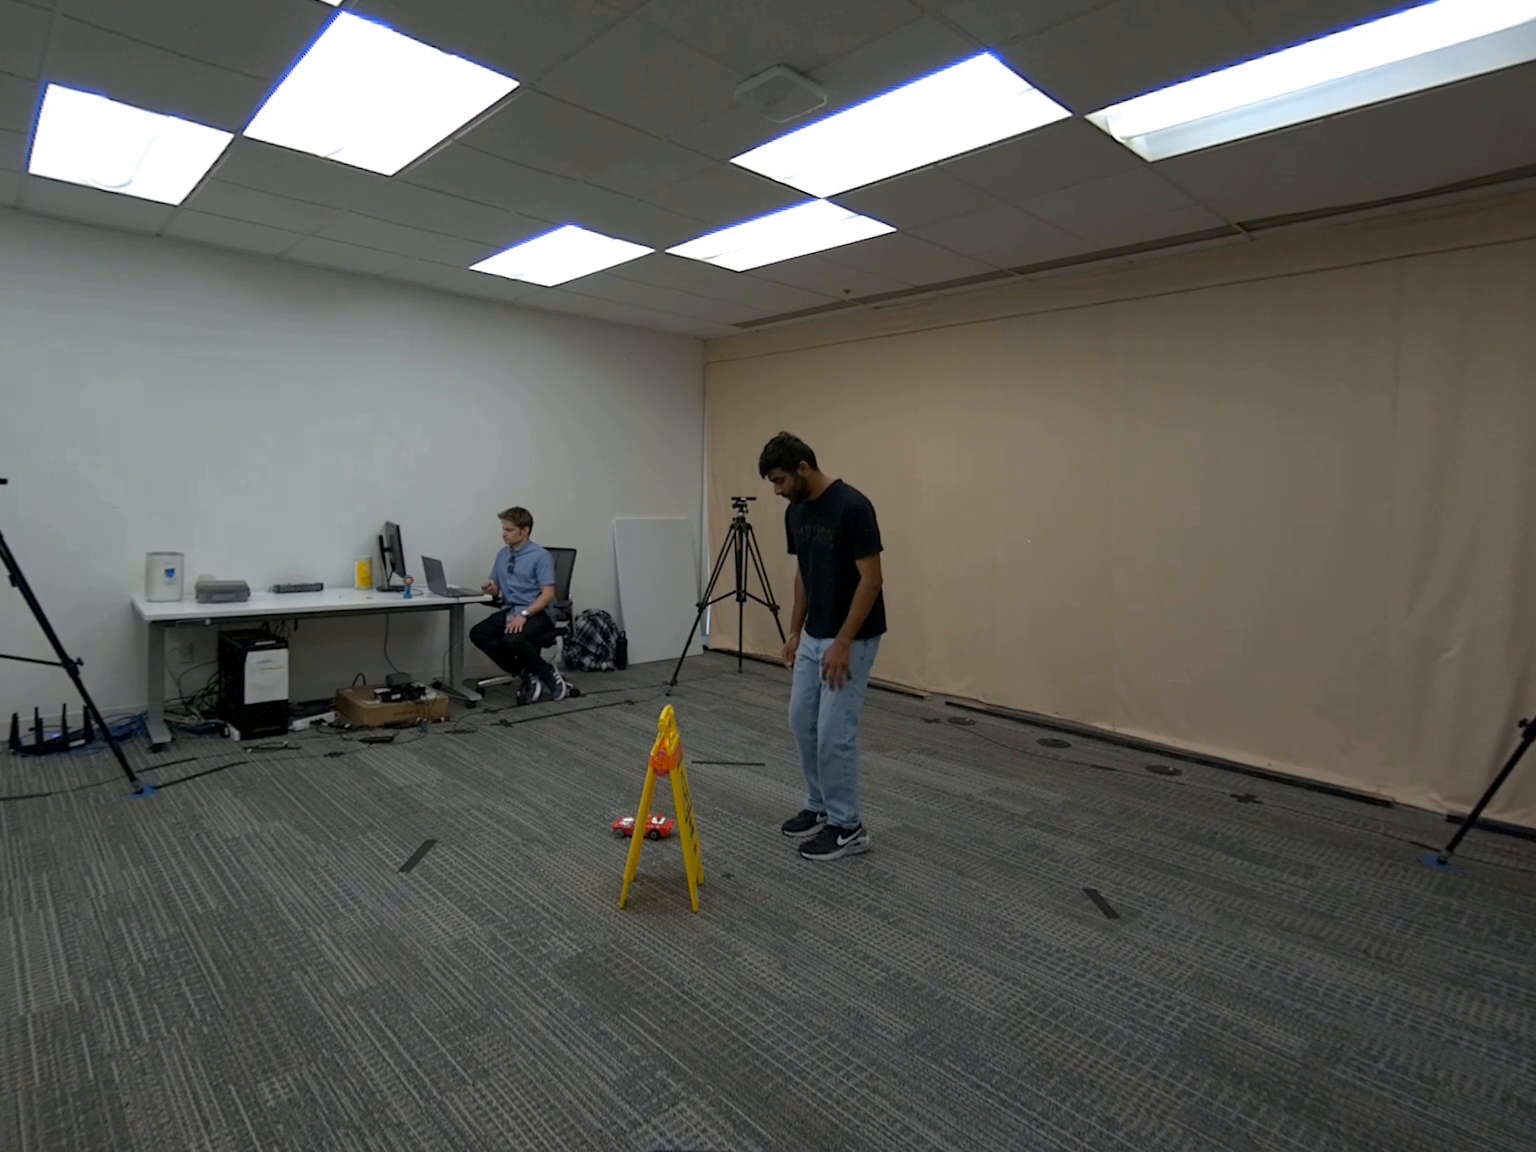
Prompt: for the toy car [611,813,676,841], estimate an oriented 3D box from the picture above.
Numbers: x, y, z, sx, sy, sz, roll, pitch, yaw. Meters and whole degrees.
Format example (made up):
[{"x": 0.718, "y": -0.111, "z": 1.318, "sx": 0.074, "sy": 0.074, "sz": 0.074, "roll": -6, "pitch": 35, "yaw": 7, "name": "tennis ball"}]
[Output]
[{"x": -0.513, "y": 1.029, "z": 3.472, "sx": 0.256, "sy": 0.083, "sz": 0.130, "roll": -9, "pitch": 3, "yaw": 6, "name": "toy car"}]
